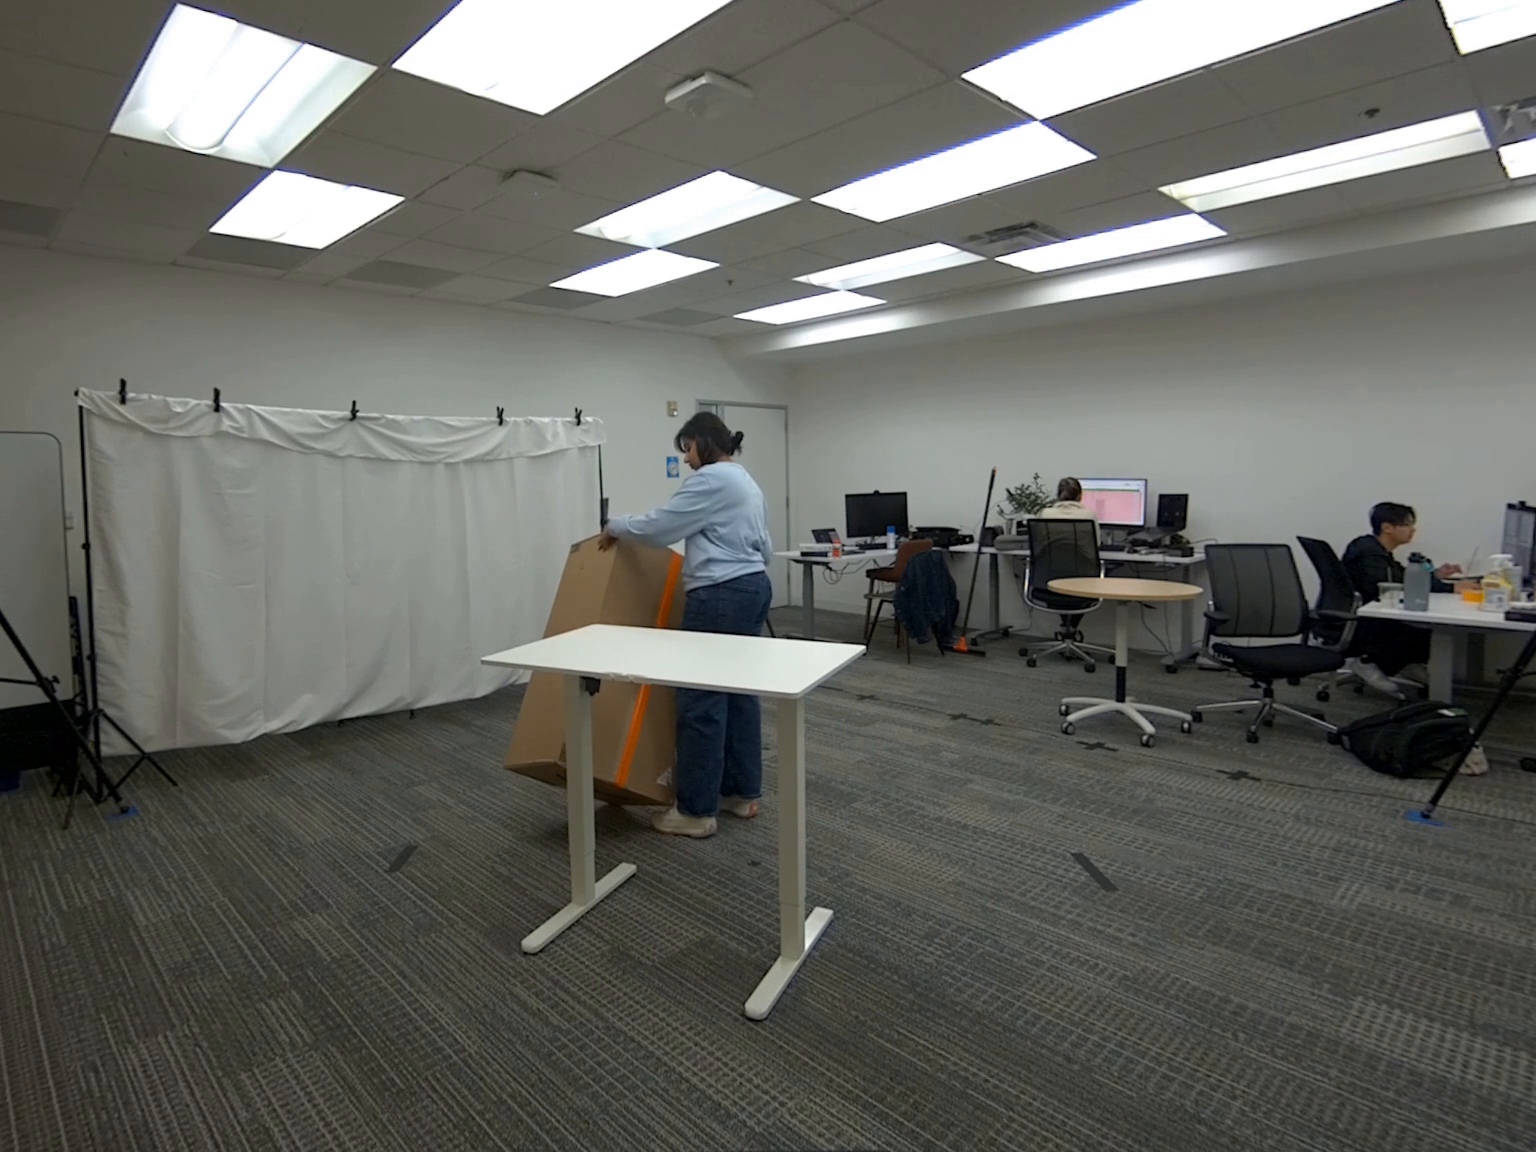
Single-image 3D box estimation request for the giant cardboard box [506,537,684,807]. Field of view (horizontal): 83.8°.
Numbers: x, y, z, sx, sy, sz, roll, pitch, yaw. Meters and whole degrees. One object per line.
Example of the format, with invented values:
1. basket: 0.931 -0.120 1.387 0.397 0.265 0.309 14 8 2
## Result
1. giant cardboard box: -0.637 0.392 3.653 0.435 1.043 0.557 -16 -37 43
